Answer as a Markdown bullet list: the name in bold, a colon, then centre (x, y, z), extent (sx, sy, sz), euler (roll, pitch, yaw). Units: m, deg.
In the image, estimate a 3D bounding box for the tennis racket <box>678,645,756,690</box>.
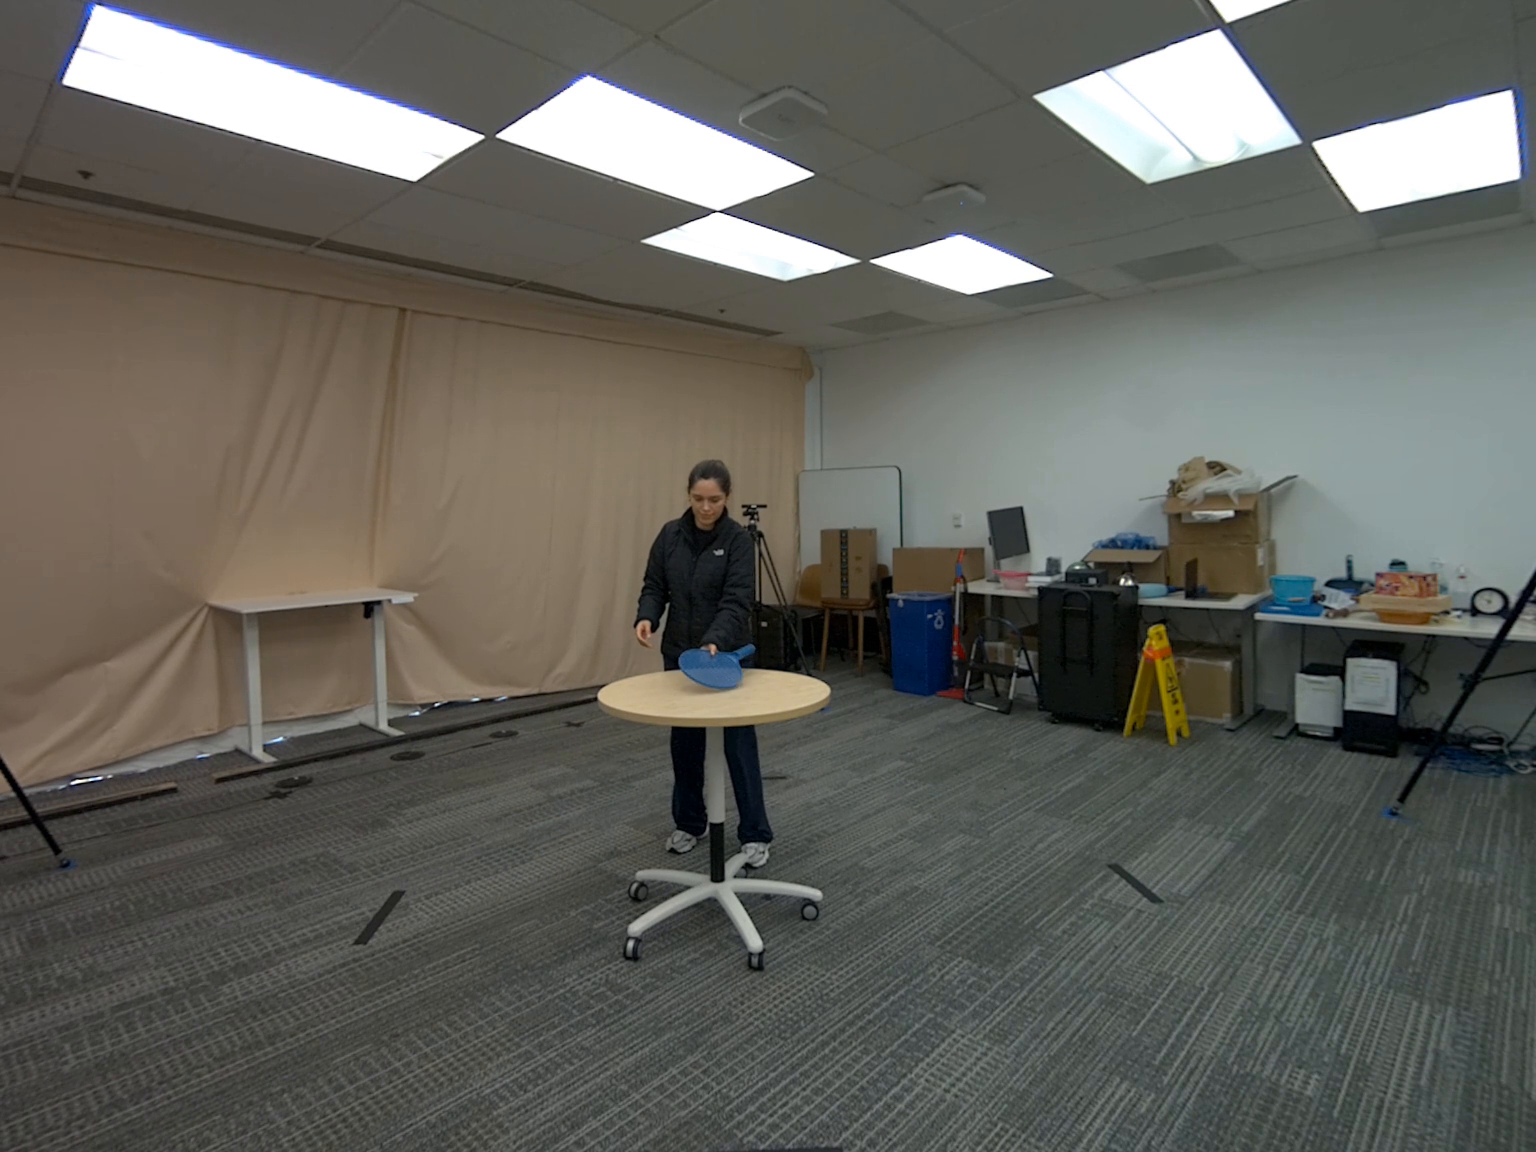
- **tennis racket**: centre (-0.131, 0.297, 2.909), extent (0.220, 0.031, 0.422), euler (26, 21, 25)
